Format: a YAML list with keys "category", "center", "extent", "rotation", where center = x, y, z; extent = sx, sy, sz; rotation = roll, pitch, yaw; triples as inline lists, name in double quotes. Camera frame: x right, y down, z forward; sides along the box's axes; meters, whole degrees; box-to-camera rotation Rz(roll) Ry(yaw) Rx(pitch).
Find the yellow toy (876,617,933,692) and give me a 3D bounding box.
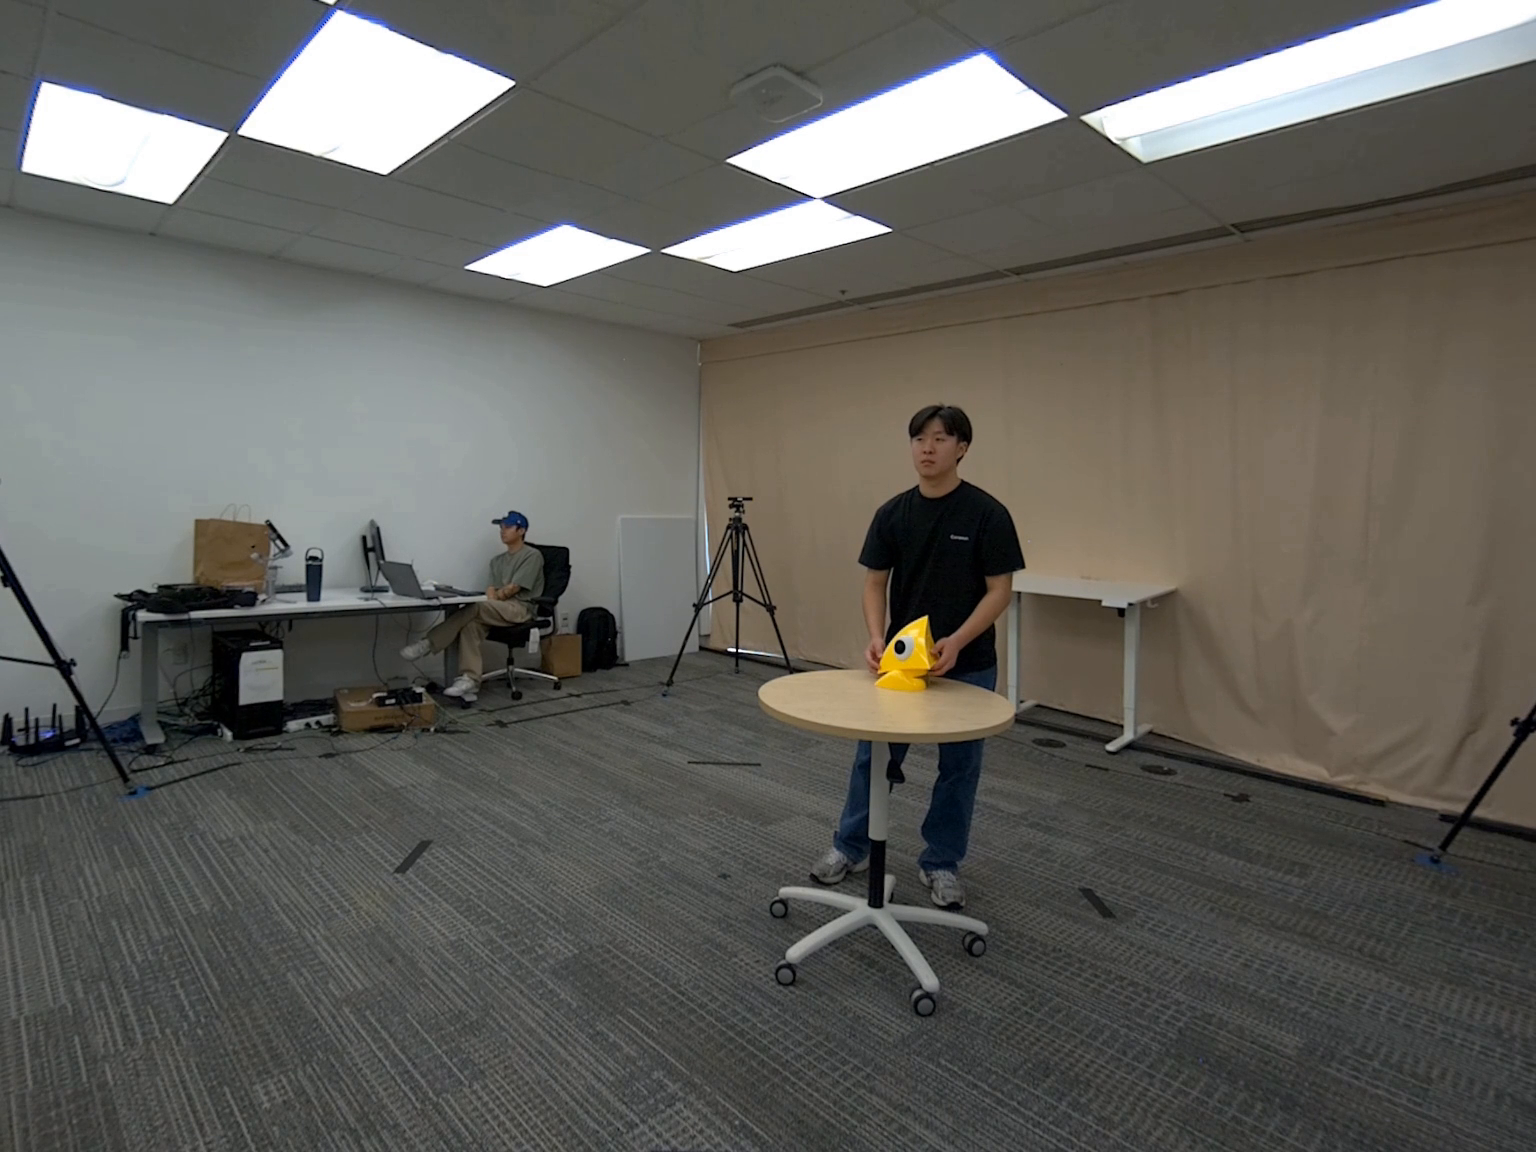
- category: "yellow toy"
  center: [0.447, 0.242, 2.752]
  extent: [0.196, 0.230, 0.202]
  rotation: [3, 5, 22]
